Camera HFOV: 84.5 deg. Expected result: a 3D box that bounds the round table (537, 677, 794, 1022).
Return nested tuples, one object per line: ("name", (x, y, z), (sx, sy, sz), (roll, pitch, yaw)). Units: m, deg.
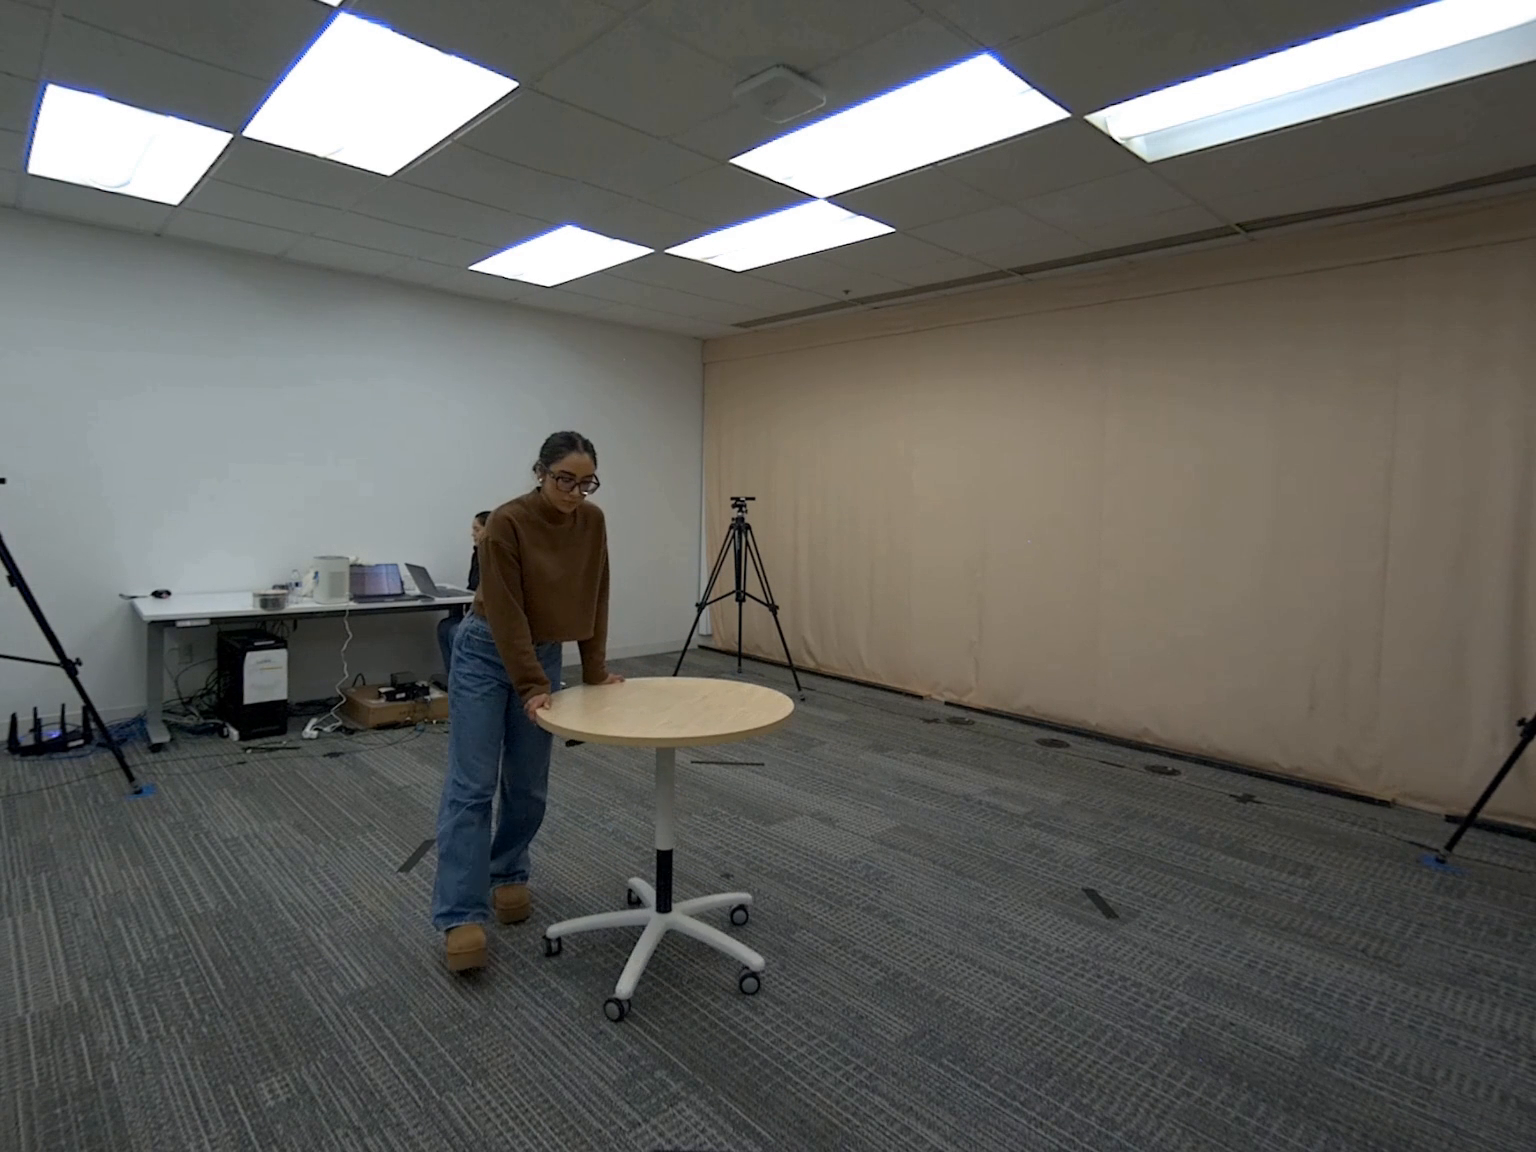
("round table", (-0.324, 0.771, 2.535), (0.763, 0.792, 0.766), (1, 4, -1))
